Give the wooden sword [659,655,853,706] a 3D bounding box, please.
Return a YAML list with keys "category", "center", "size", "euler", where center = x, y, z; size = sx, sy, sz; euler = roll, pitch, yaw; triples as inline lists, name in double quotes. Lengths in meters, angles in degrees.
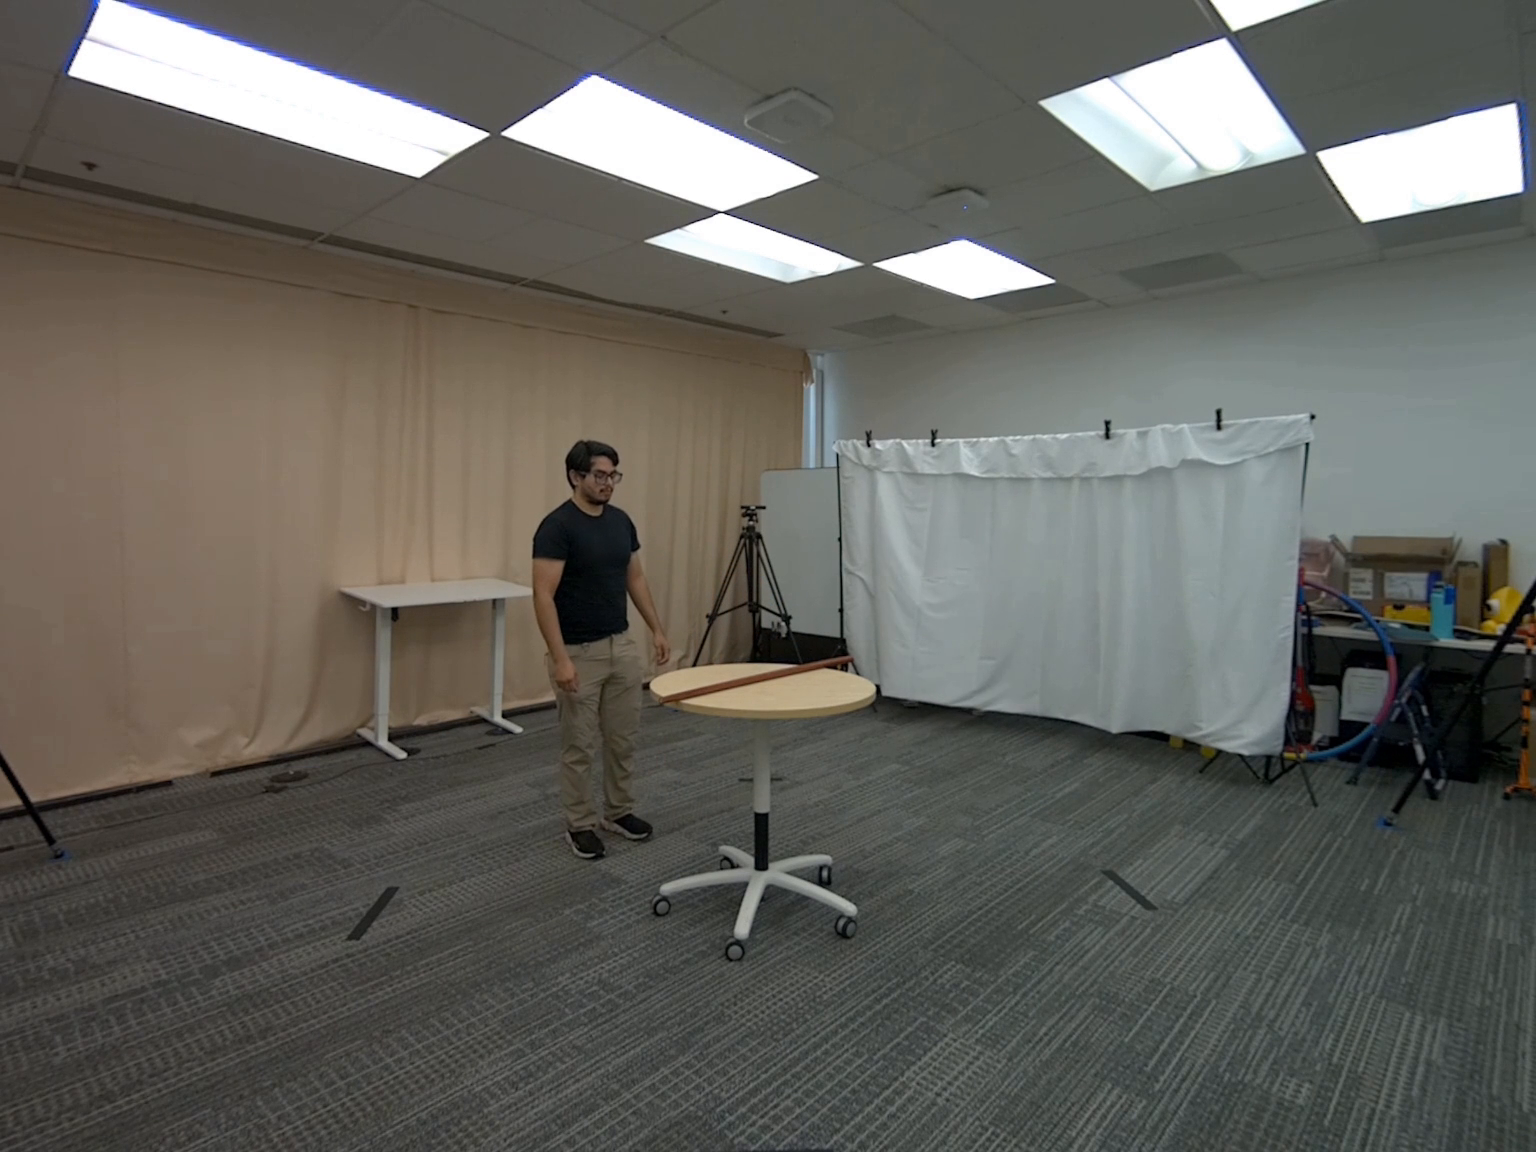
- category: "wooden sword"
  center: [0.003, 0.370, 2.919]
  size: [0.993, 0.024, 0.052]
  euler: [-4, -26, -47]
